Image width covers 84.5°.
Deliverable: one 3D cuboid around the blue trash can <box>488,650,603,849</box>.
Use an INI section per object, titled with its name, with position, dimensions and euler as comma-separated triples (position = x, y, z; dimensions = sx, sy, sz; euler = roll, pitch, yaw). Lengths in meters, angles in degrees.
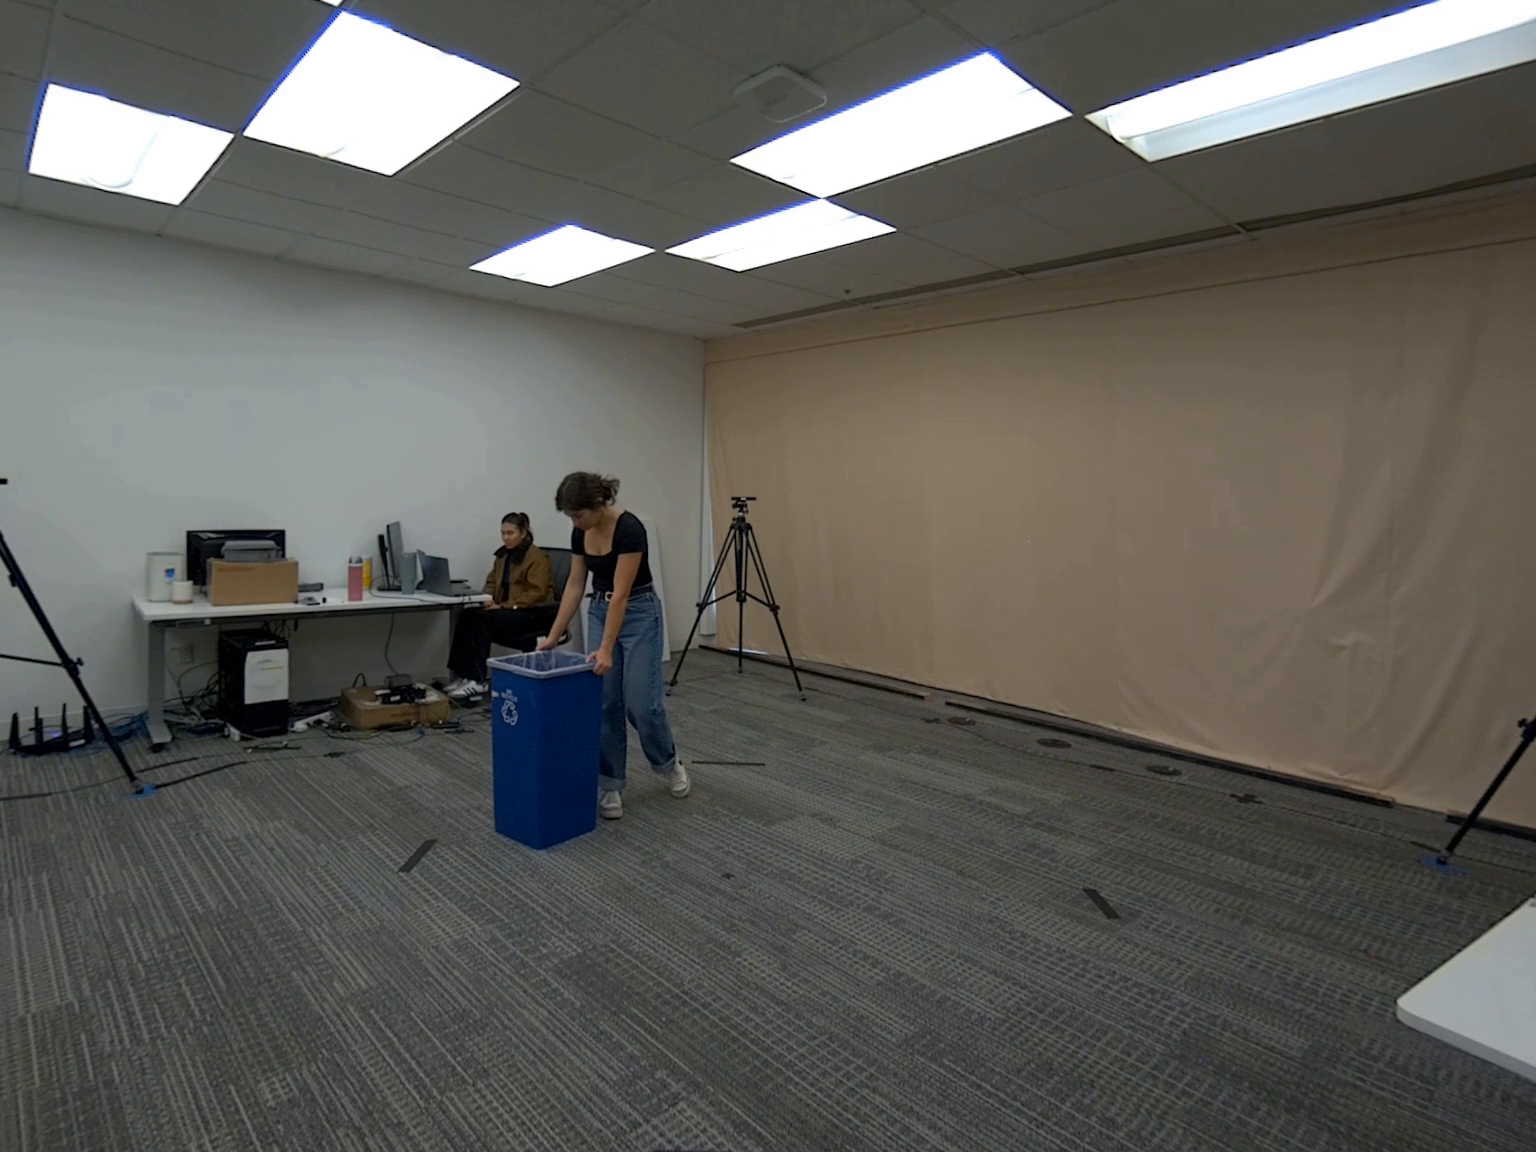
[blue trash can]
position = -0.917, 0.699, 3.472
dimensions = 0.383, 0.712, 0.370
euler = 4, 4, 38
